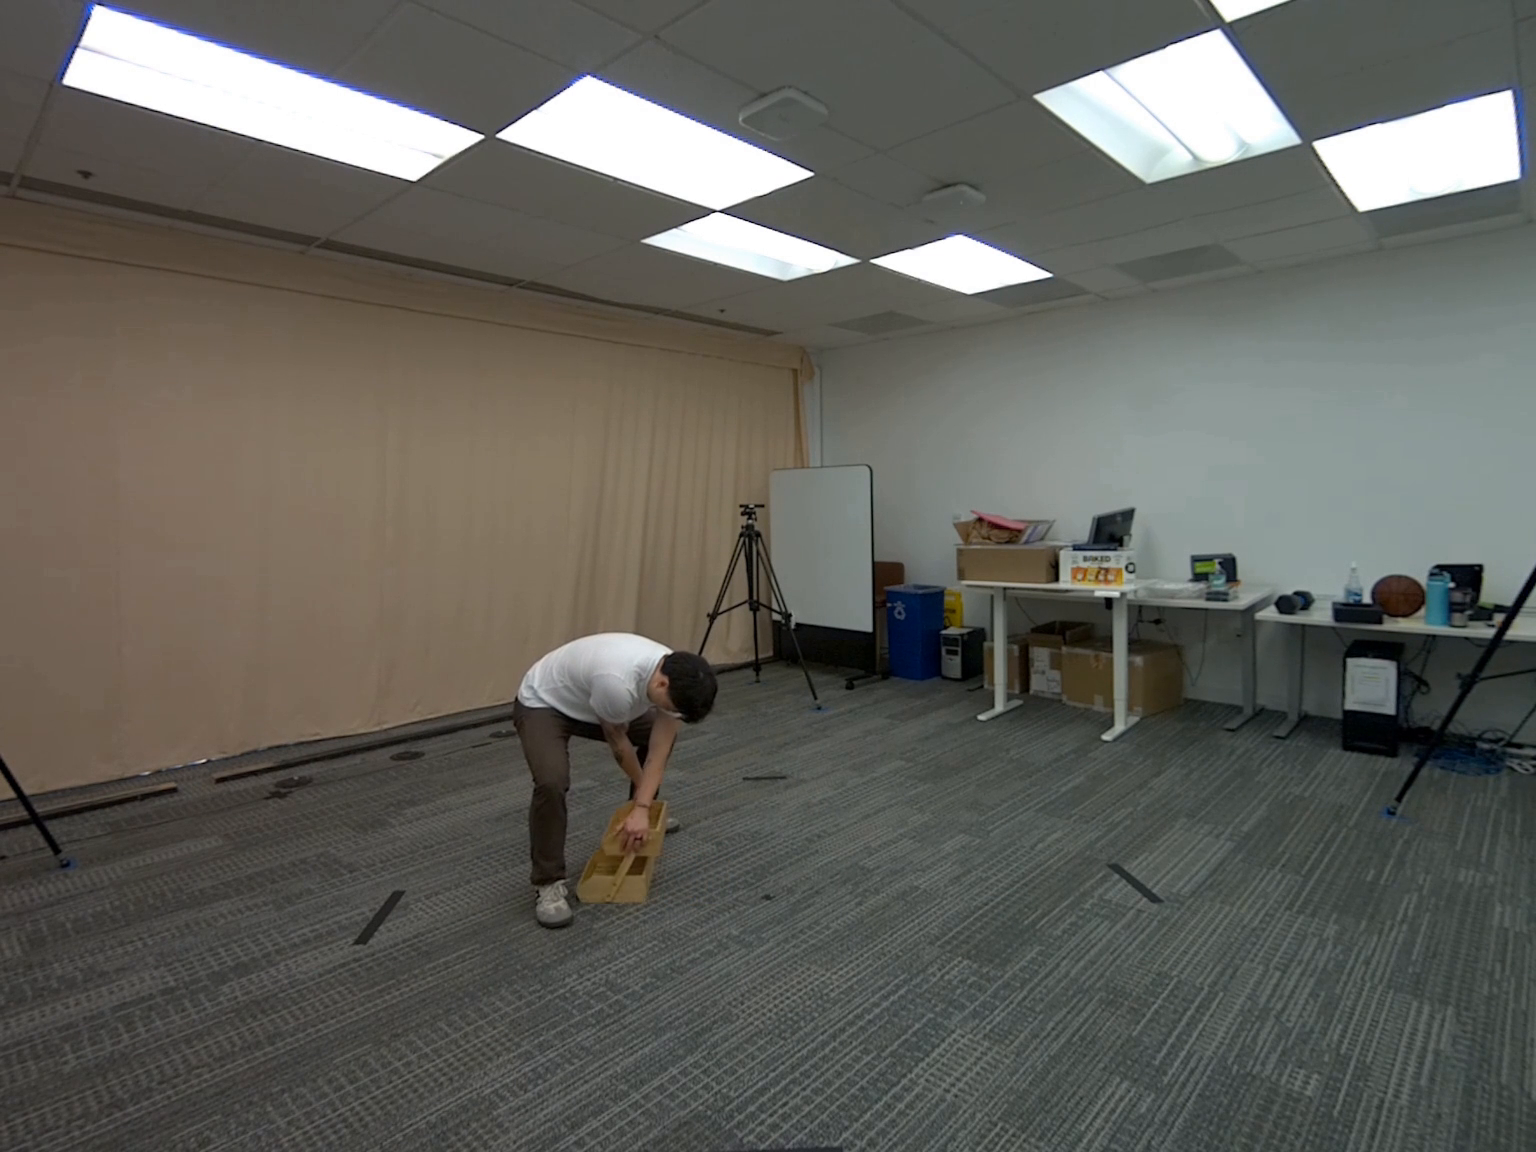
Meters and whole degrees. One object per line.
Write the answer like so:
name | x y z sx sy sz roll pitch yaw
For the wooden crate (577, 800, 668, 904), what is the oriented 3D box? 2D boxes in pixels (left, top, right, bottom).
wooden crate | -0.537 1.011 3.107 0.303 0.273 0.324 -2 4 1
